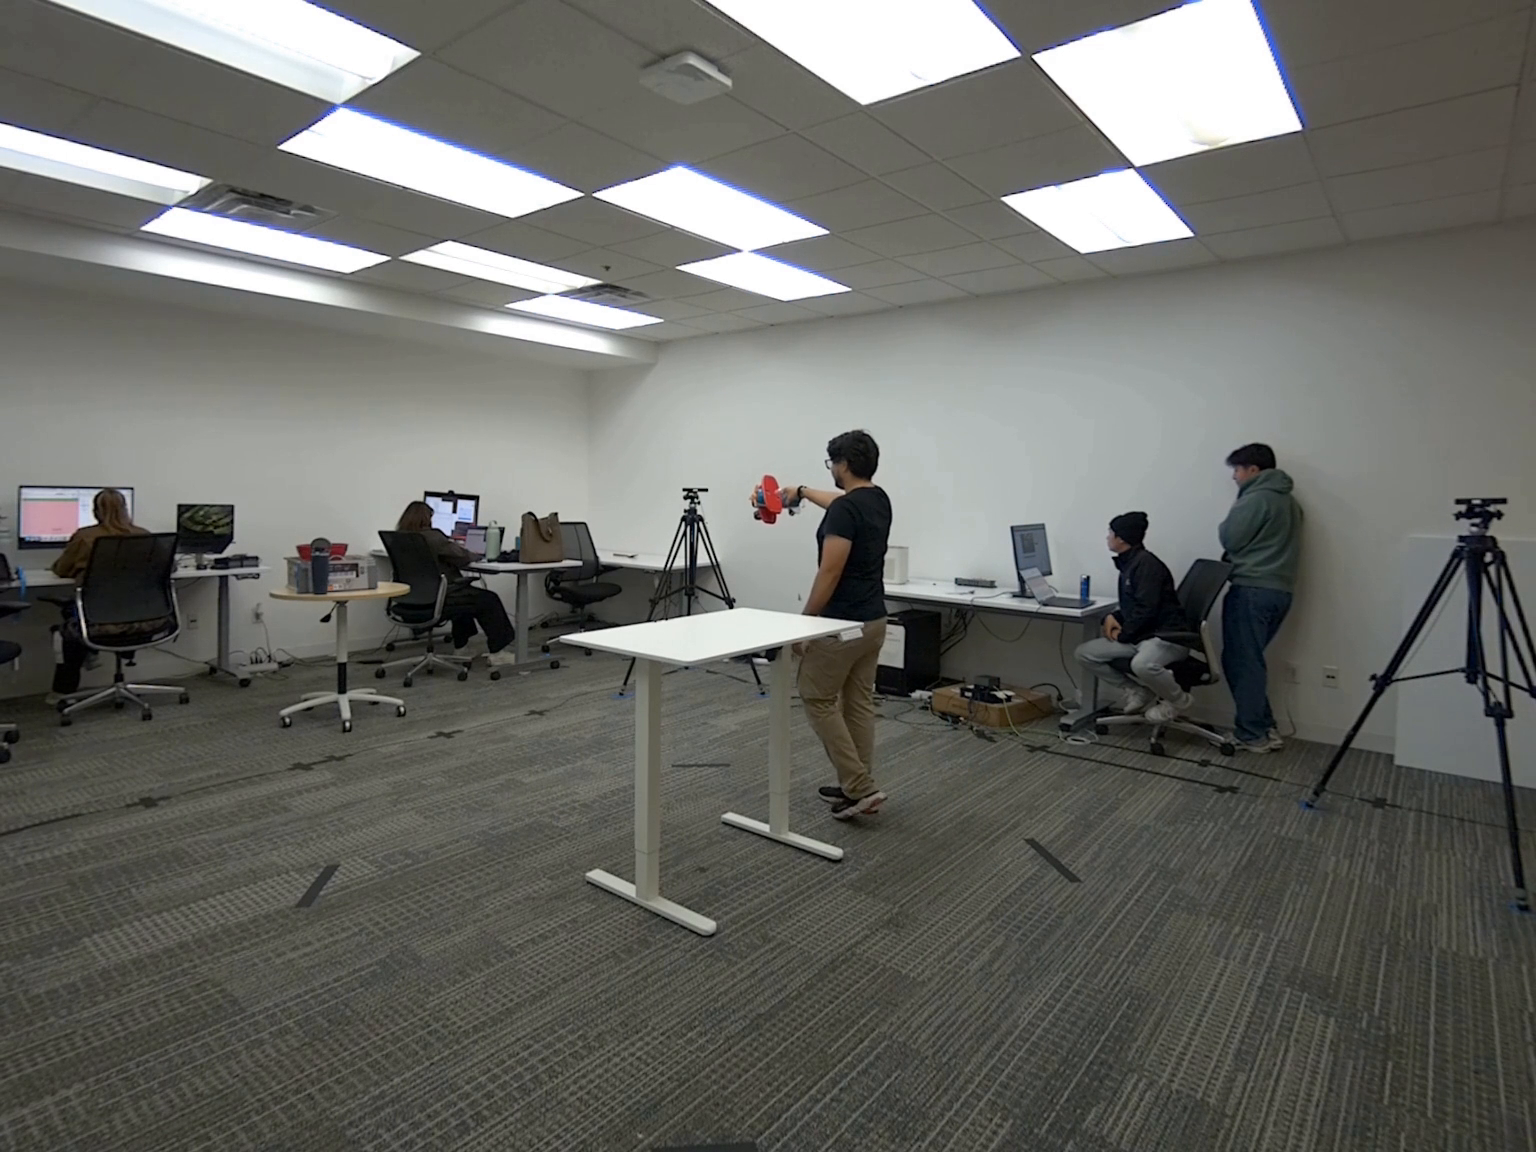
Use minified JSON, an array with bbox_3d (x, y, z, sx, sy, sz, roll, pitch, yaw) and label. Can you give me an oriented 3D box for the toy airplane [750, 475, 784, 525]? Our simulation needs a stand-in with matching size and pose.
[{"bbox_3d":[0.025,-0.396,4.329,0.256,0.260,0.153,-25,-30,-26],"label":"toy airplane"}]
